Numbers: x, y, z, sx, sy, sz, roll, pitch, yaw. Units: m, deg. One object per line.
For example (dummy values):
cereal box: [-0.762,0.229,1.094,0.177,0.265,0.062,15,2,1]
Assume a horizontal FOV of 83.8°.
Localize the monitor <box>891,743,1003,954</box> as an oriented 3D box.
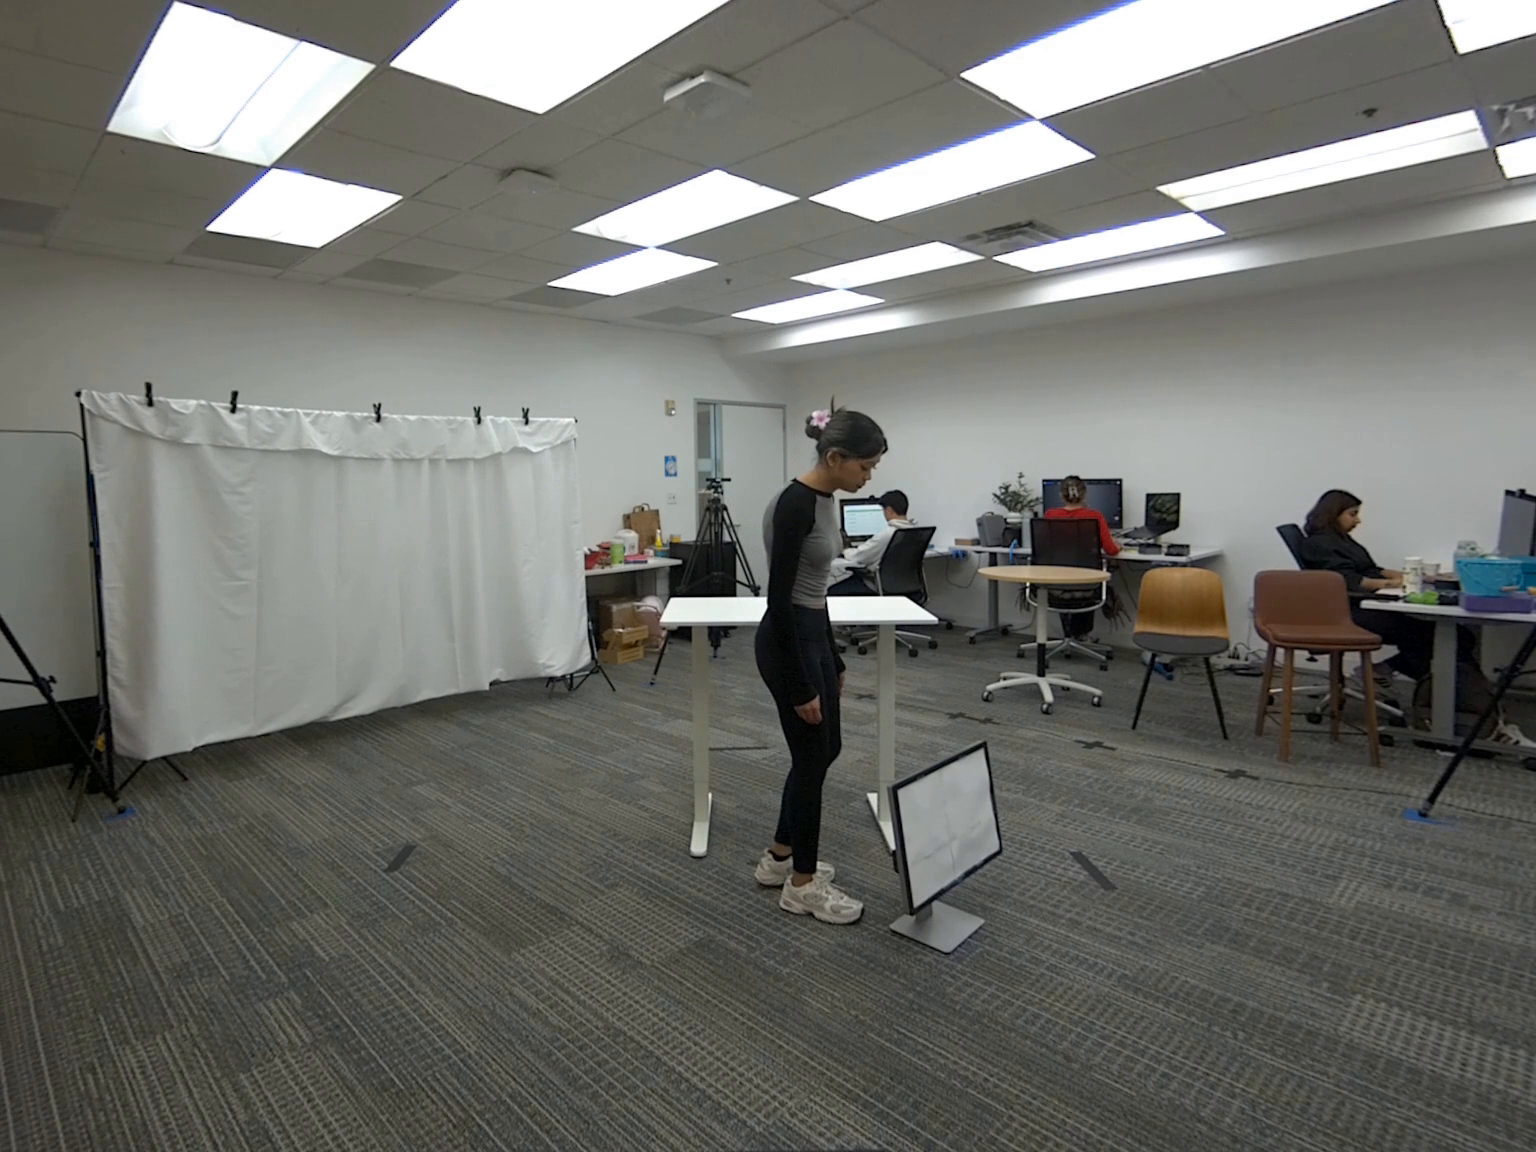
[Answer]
monitor: [0.523,0.826,2.625,0.193,0.520,0.525,5,7,39]
